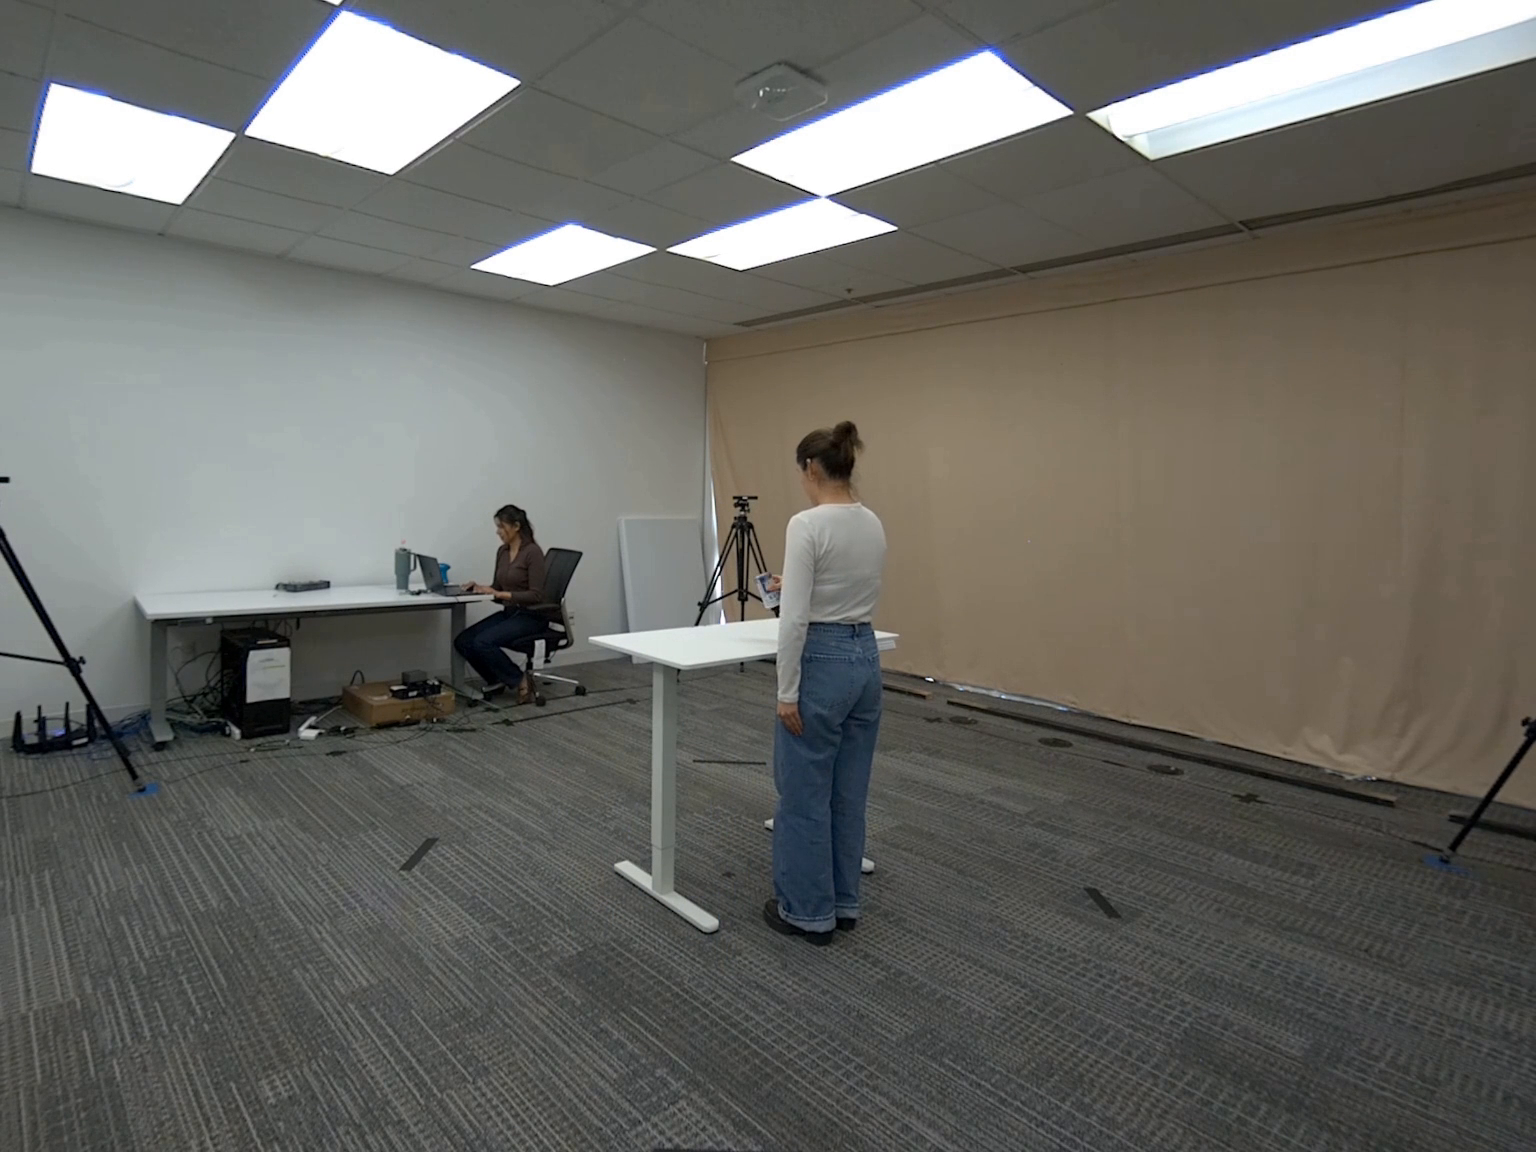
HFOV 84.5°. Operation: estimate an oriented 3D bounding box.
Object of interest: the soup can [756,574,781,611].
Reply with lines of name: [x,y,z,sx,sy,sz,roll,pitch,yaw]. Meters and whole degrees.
soup can: [0.016,0.073,3.021,0.067,0.121,0.067,-15,3,-1]
